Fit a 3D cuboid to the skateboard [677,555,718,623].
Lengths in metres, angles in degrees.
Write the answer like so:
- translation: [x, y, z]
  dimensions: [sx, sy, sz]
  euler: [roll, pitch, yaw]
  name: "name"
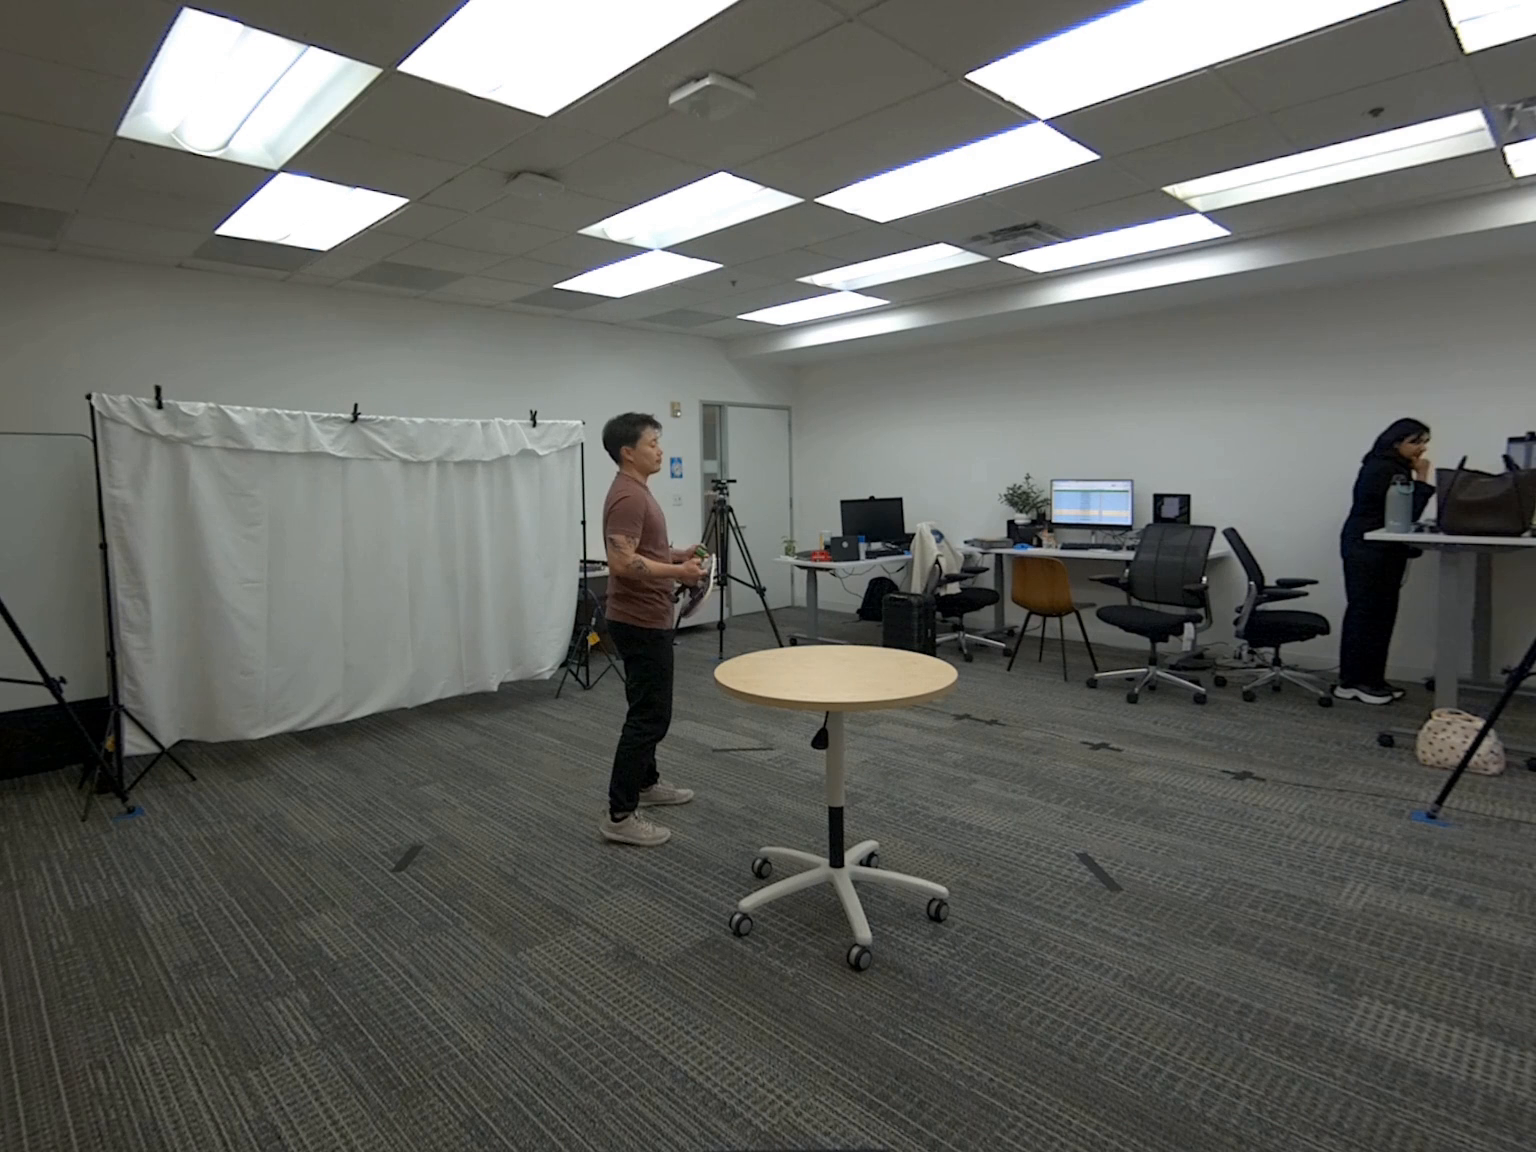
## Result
- translation: [-0.304, 0.014, 3.546]
  dimensions: [0.193, 0.109, 0.795]
  euler: [-42, 11, 7]
  name: "skateboard"
